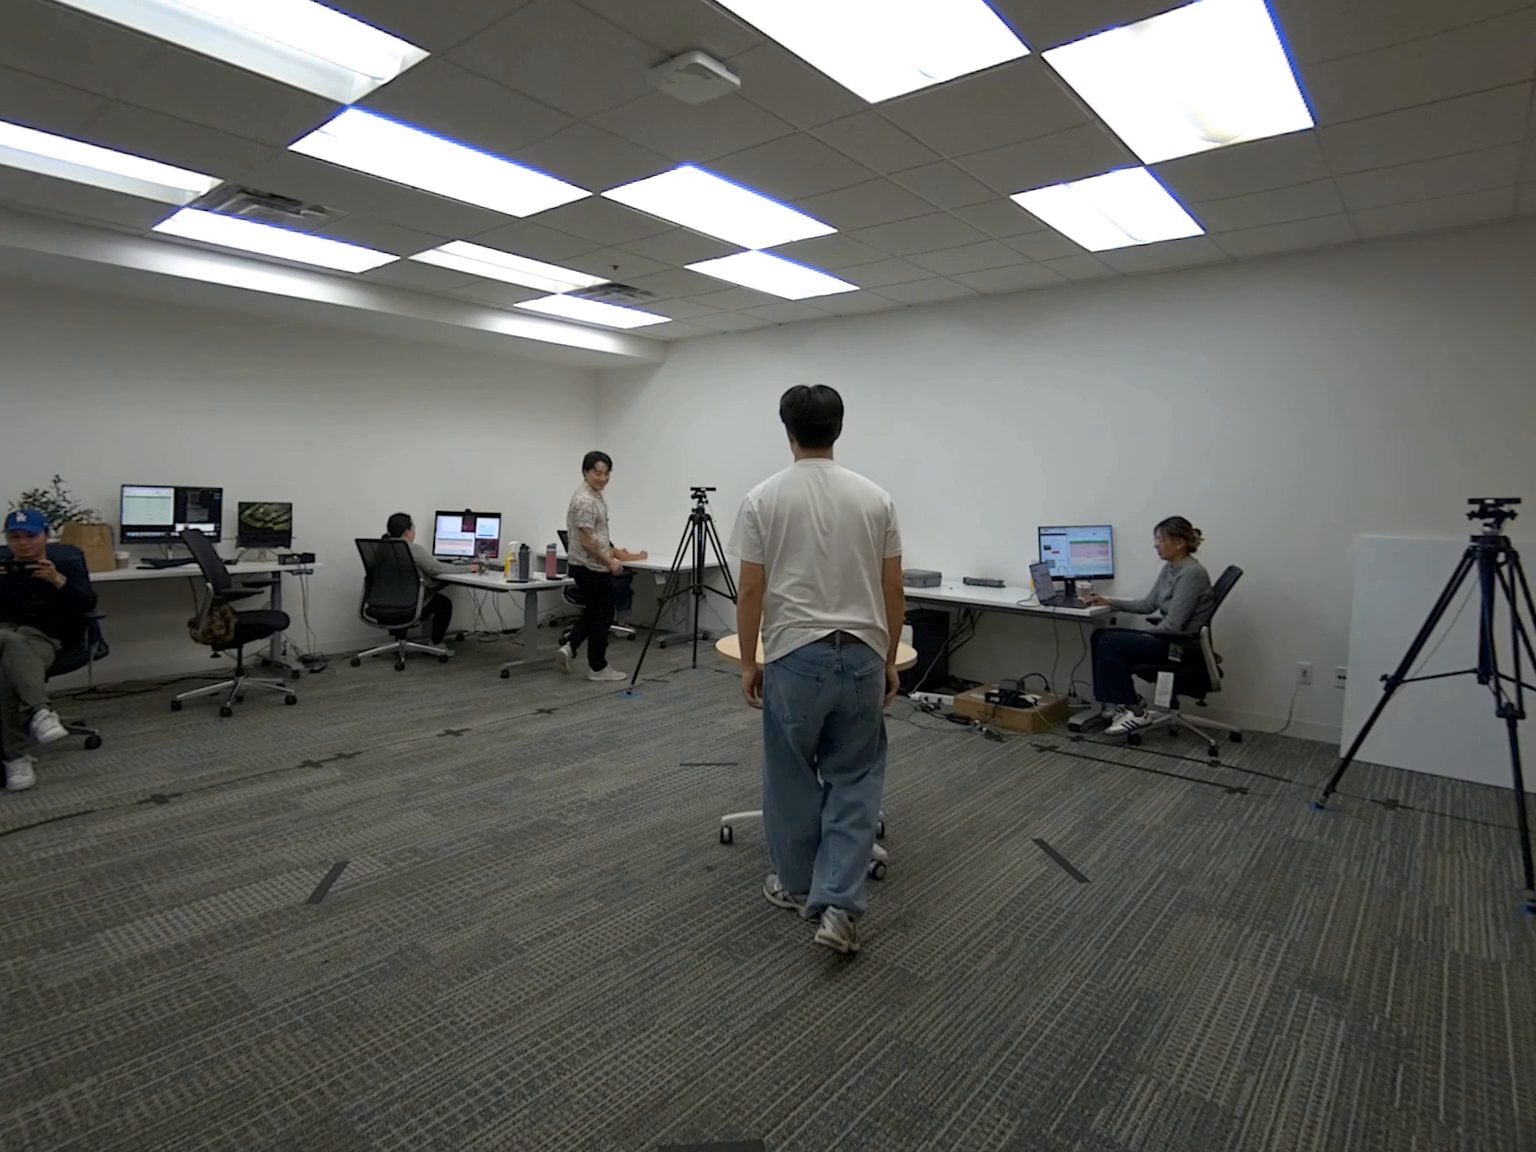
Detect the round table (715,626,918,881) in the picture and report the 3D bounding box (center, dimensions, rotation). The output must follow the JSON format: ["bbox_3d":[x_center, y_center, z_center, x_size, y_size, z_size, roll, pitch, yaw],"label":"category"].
[{"bbox_3d":[0.145,0.657,3.297,0.784,0.784,0.789,1,5,-2],"label":"round table"}]
